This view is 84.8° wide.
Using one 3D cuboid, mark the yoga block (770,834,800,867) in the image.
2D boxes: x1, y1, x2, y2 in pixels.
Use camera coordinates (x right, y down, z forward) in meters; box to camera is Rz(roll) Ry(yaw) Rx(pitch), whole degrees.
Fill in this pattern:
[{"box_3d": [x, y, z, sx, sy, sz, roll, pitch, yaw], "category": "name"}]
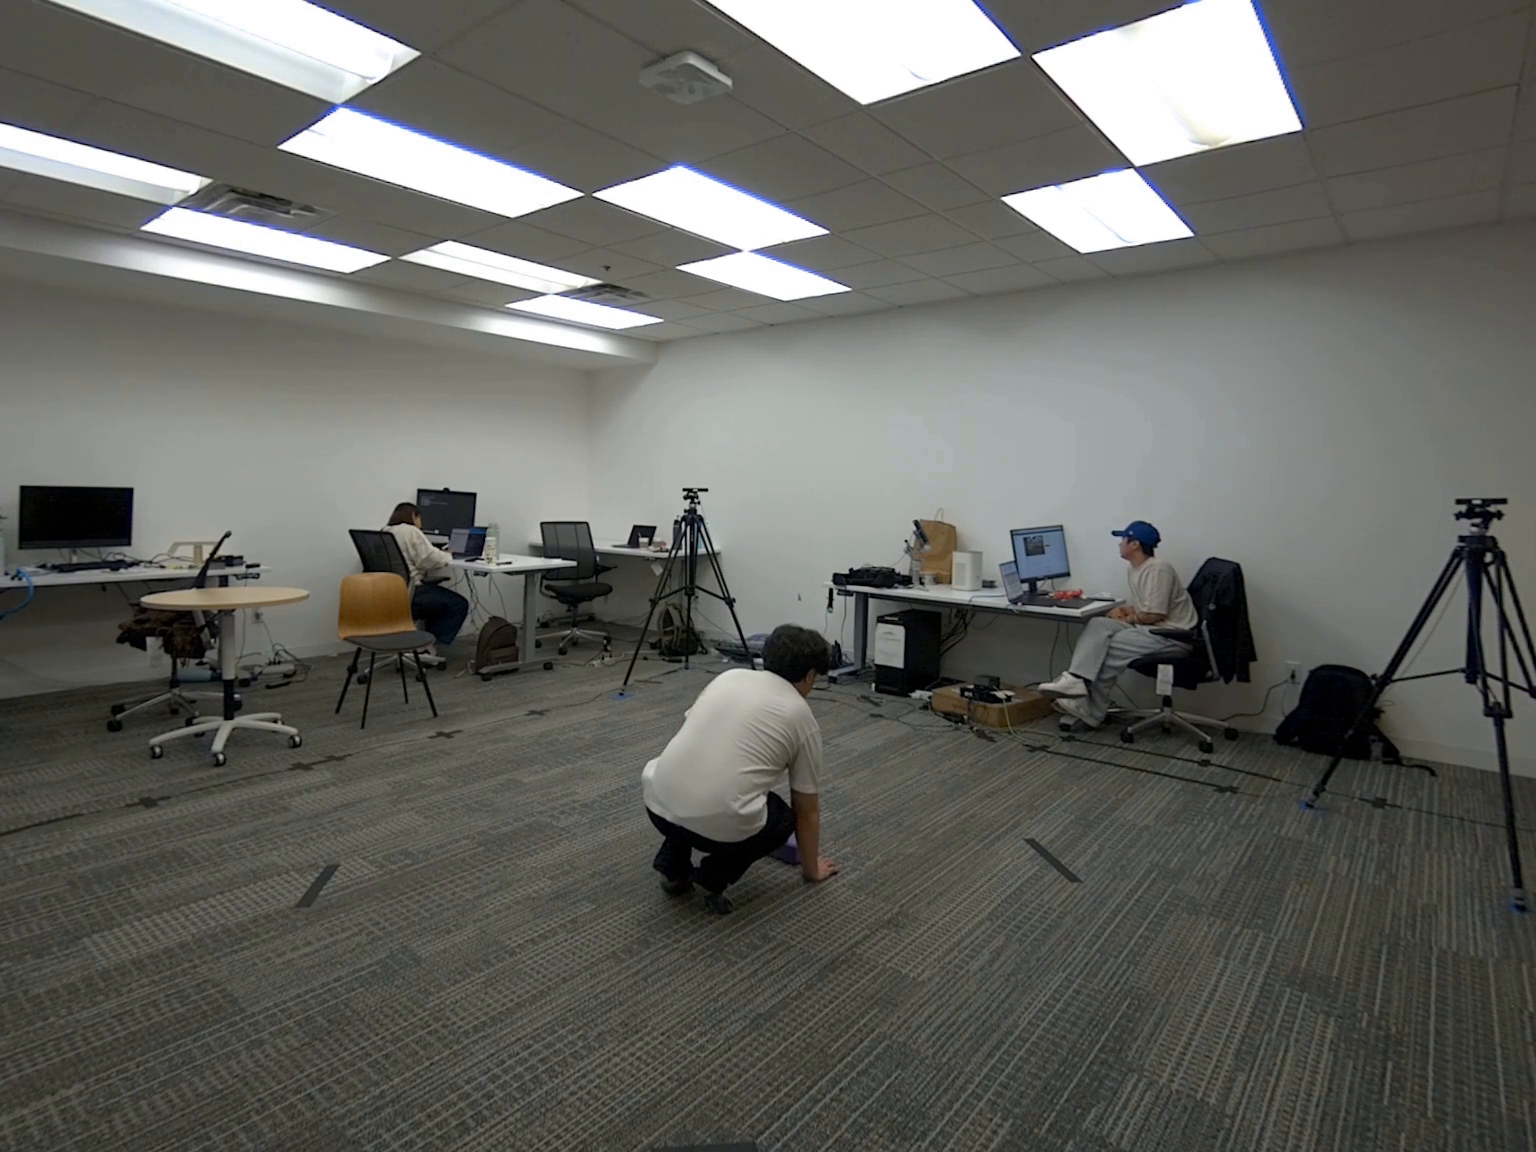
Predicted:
[{"box_3d": [0.048, 1.015, 3.273, 0.237, 0.076, 0.144, 6, 6, 38], "category": "yoga block"}]
